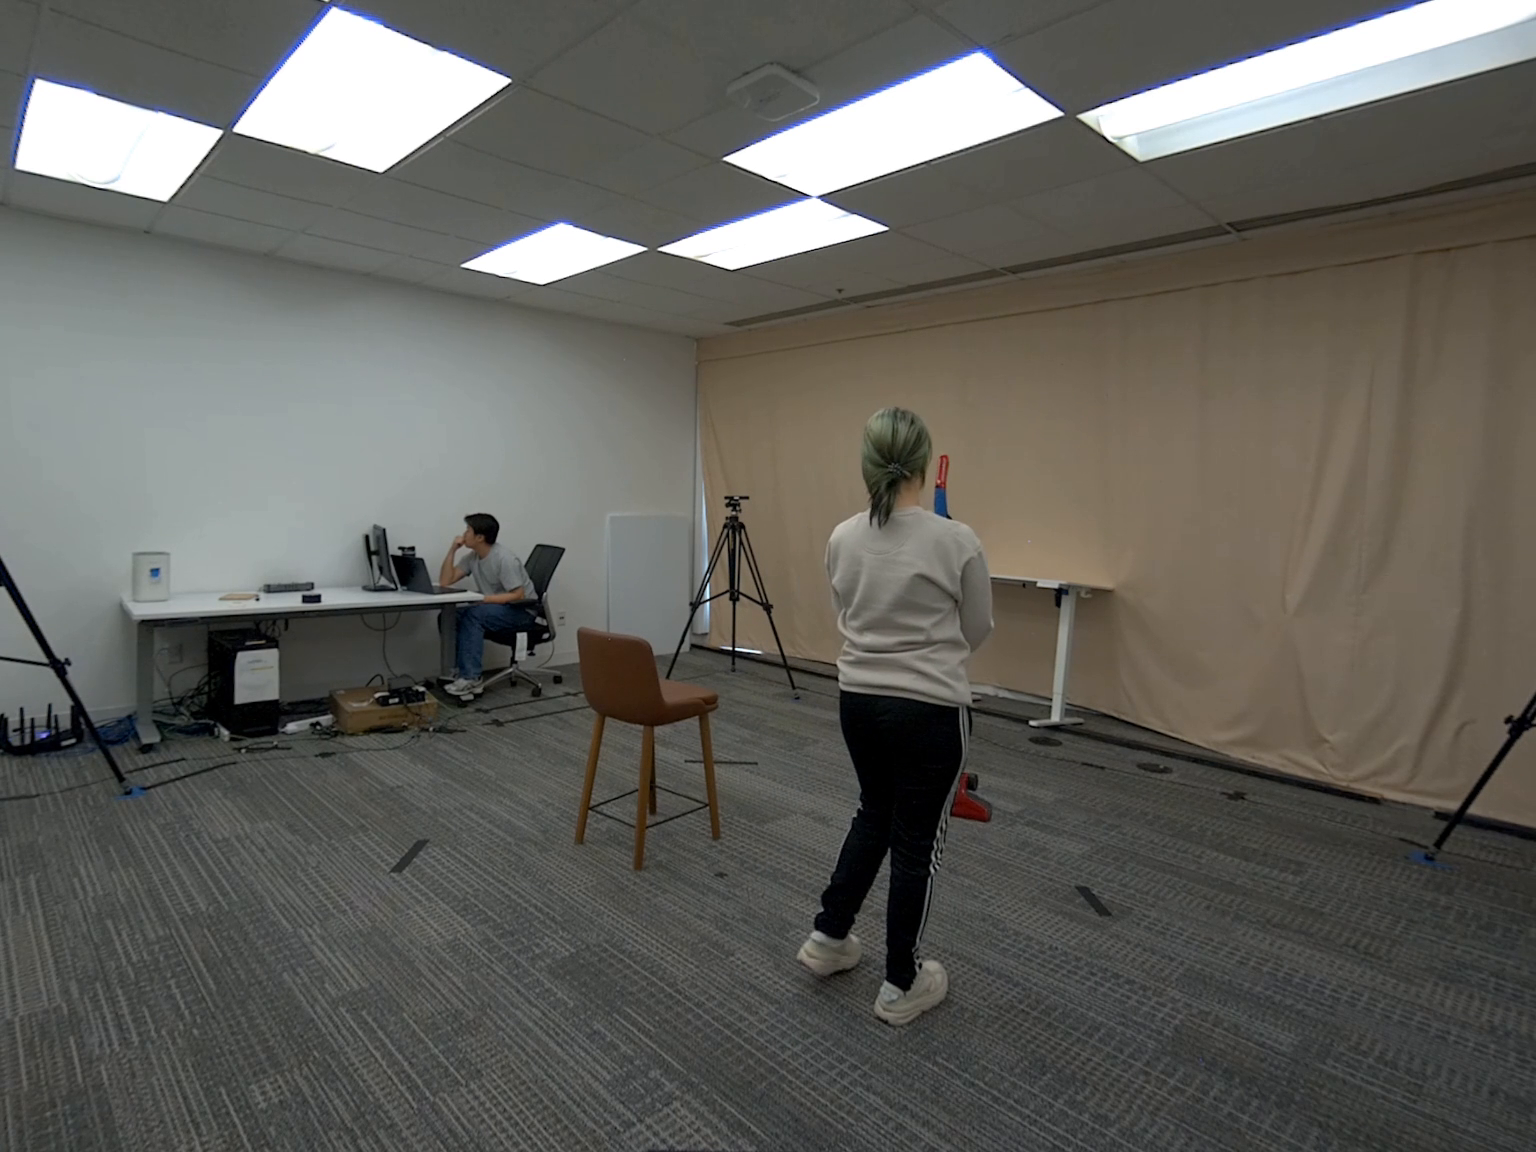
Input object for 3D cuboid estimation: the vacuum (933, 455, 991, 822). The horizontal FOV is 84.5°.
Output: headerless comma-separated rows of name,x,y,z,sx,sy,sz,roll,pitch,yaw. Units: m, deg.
vacuum,0.556,0.164,2.579,0.258,1.046,0.141,2,5,31
